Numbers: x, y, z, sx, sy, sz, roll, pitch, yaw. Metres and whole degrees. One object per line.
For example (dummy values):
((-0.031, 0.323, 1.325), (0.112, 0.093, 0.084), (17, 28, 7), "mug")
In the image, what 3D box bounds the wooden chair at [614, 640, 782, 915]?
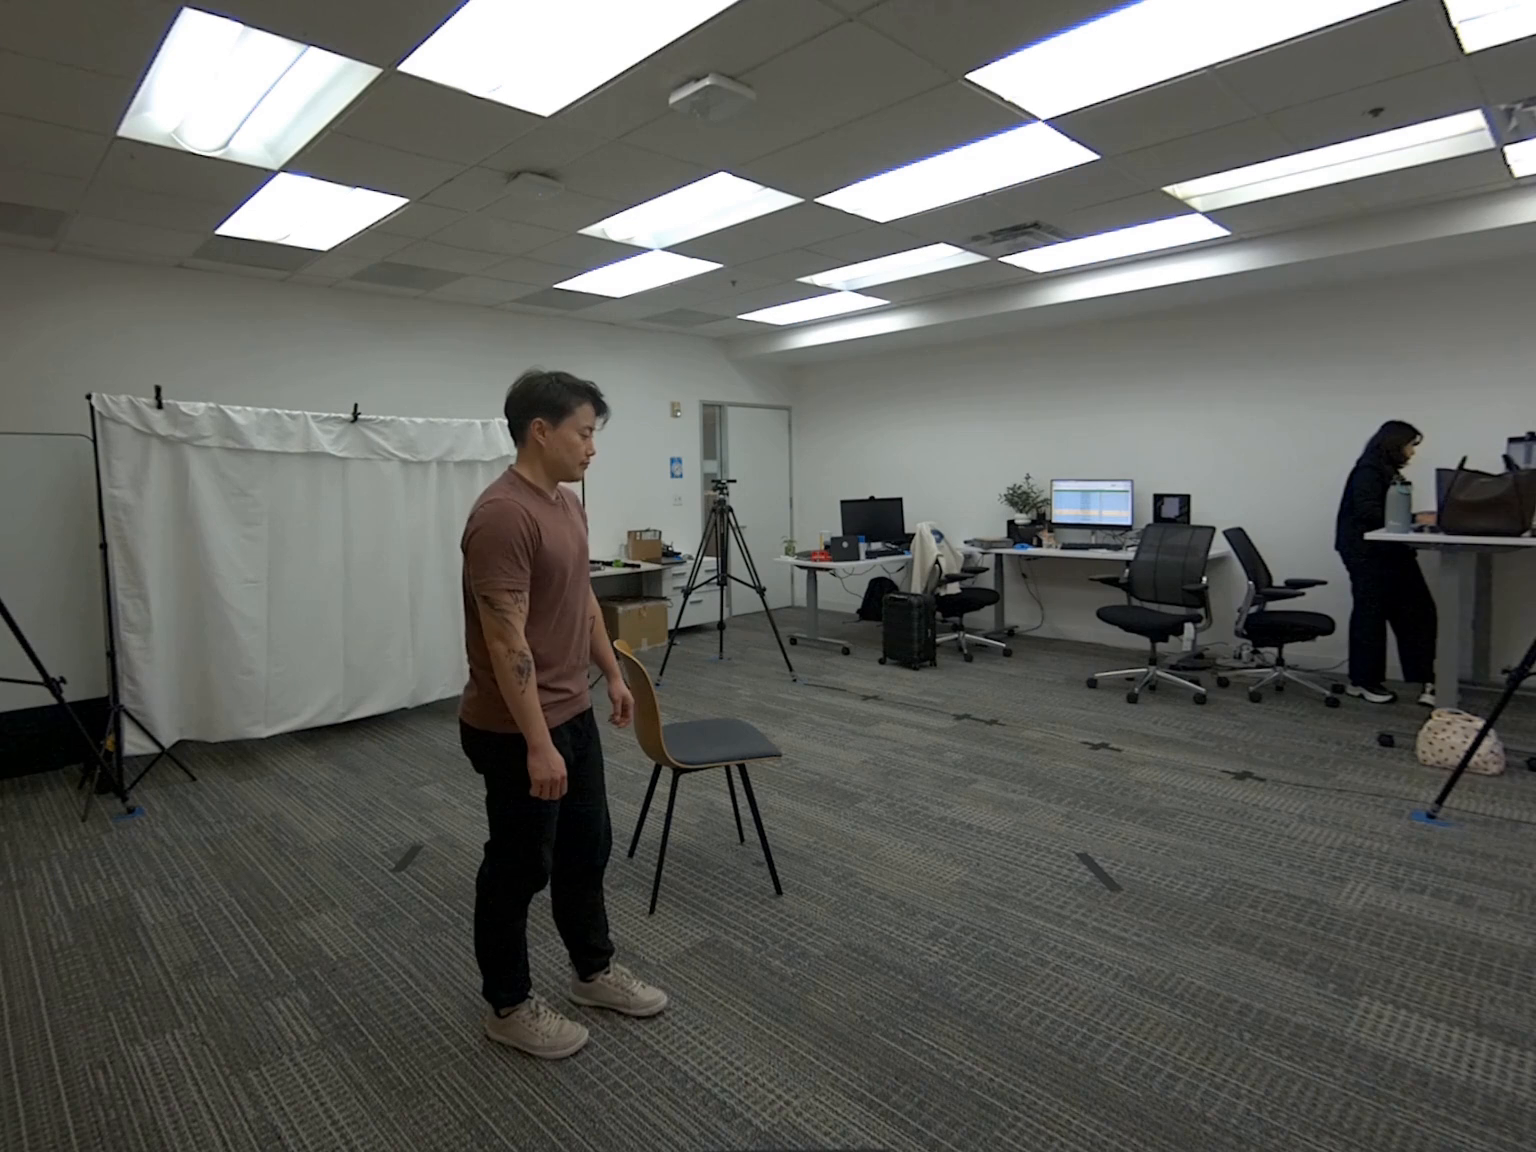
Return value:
((-0.237, 0.637, 2.996), (0.516, 0.873, 0.487), (-6, 5, -16), "wooden chair")
